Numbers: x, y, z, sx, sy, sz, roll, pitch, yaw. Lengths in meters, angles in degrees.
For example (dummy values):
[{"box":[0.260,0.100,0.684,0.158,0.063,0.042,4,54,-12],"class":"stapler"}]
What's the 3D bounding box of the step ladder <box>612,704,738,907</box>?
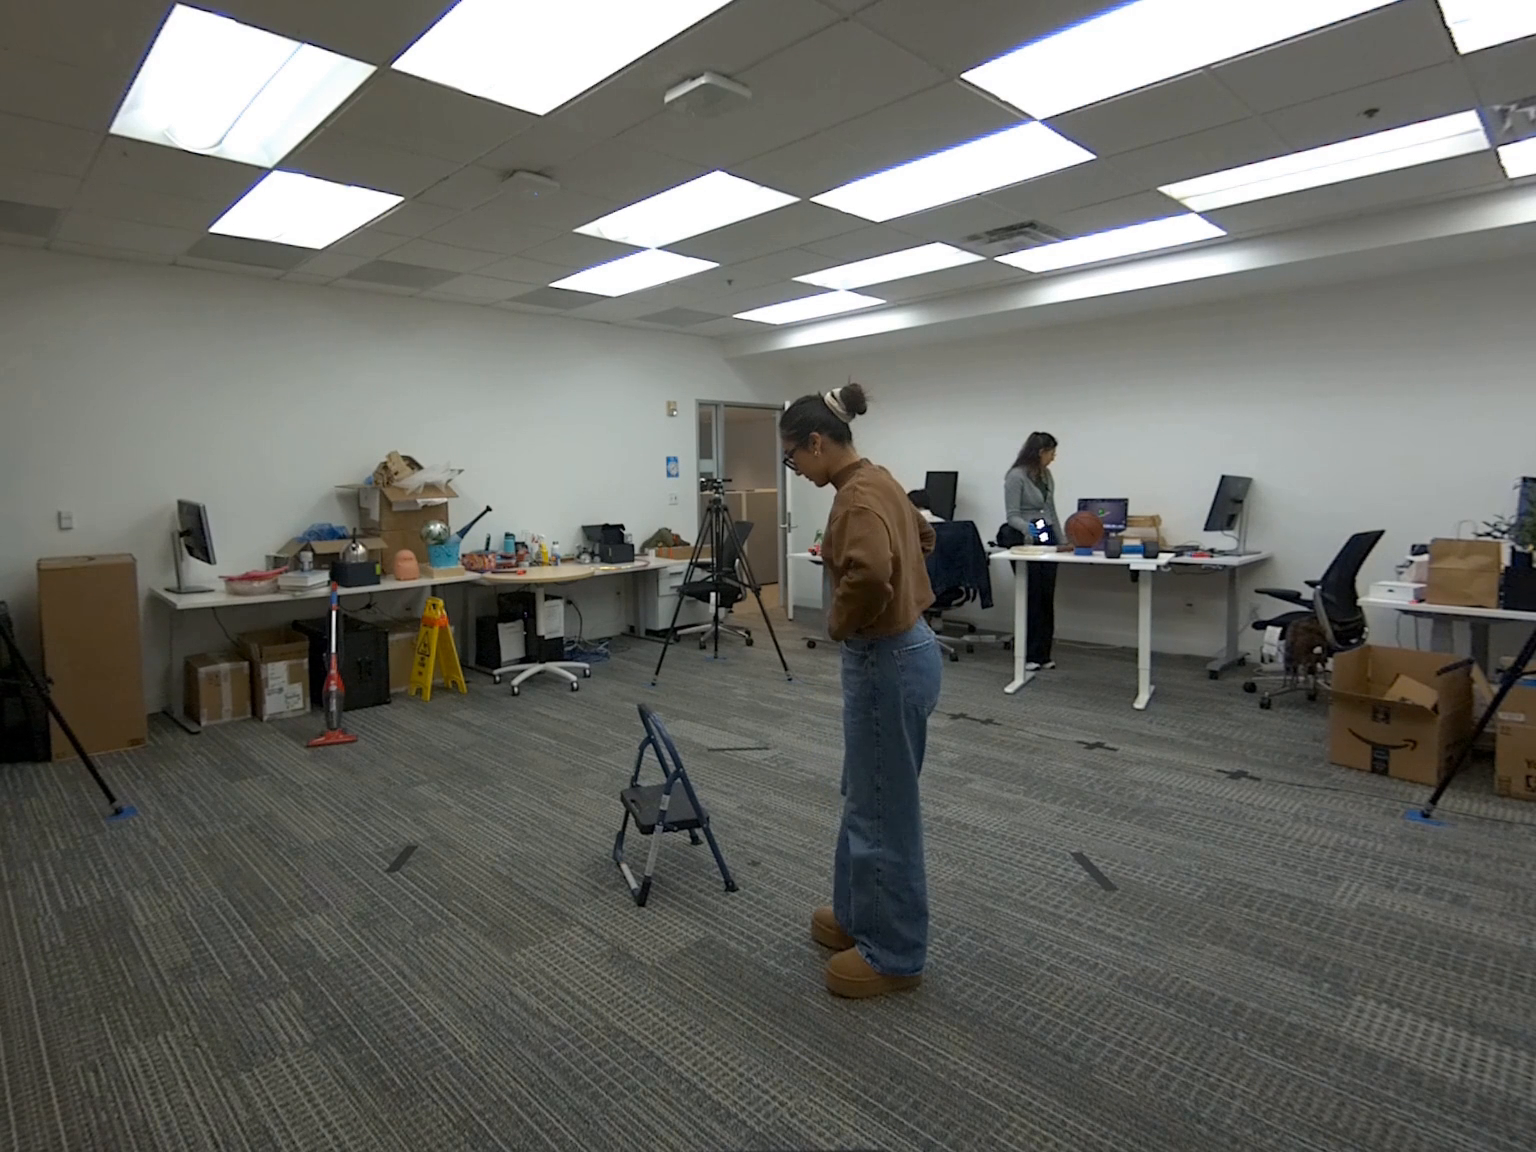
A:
[{"box":[-0.345,0.756,3.029,0.343,0.604,0.440,-3,5,-22],"class":"step ladder"}]
